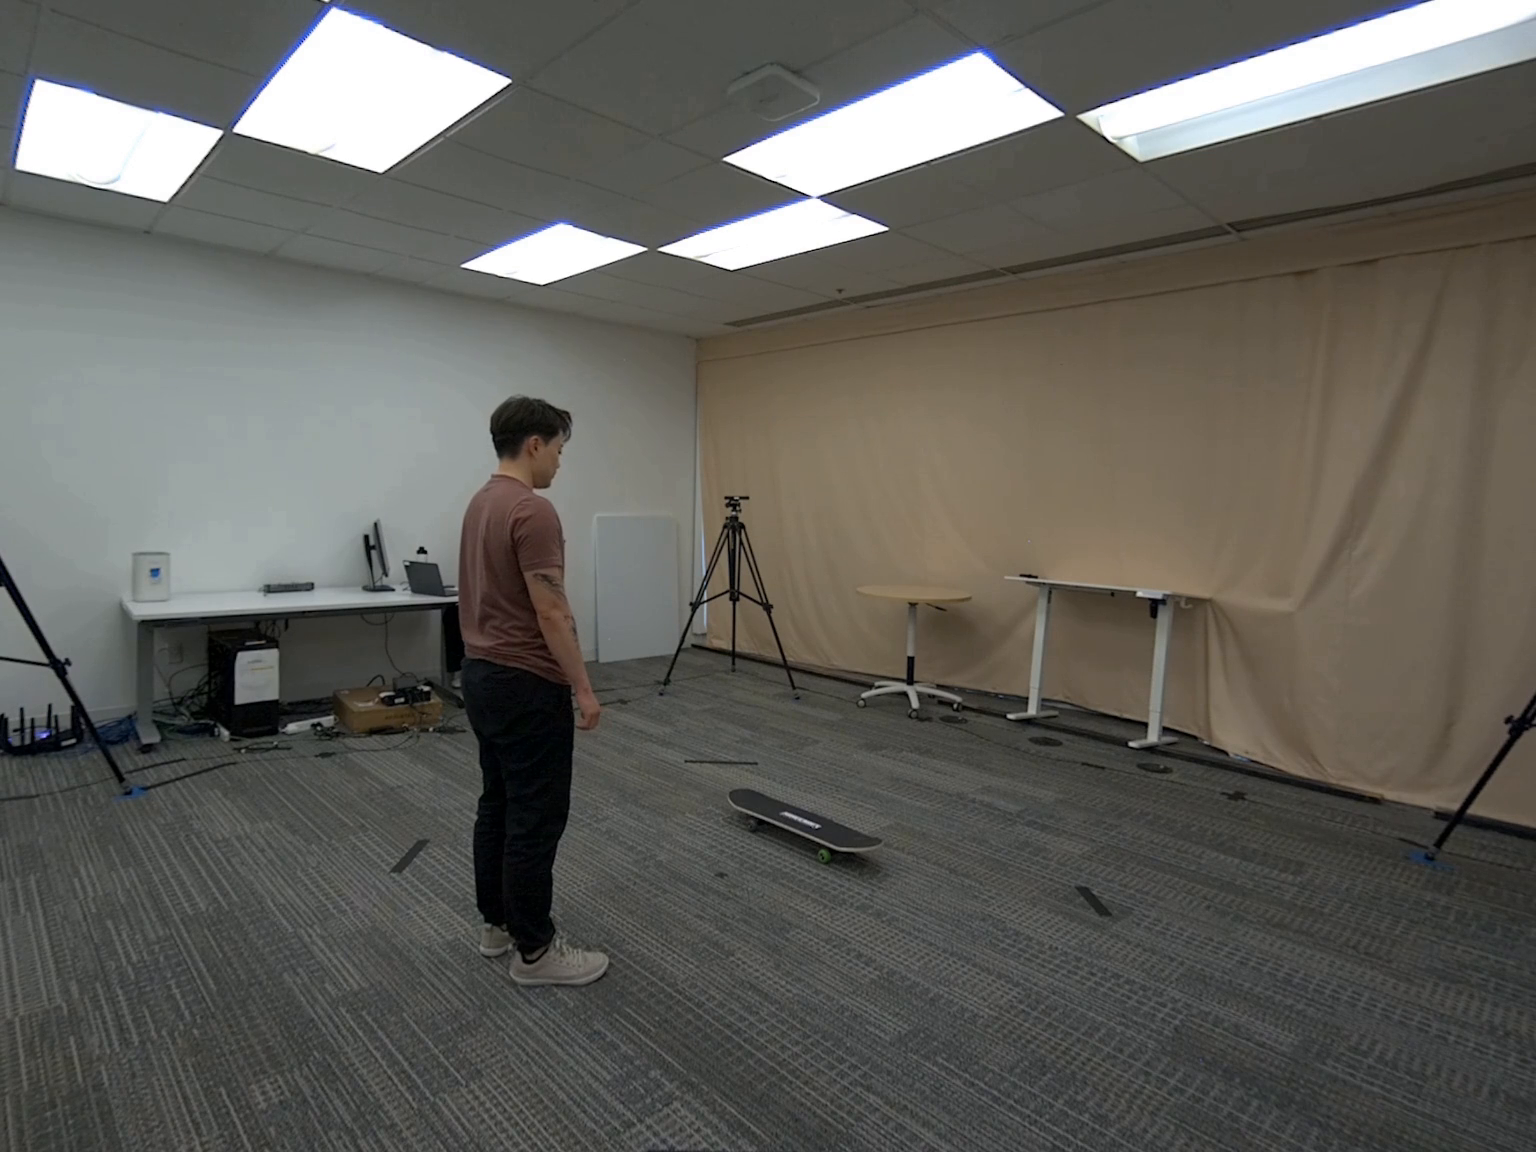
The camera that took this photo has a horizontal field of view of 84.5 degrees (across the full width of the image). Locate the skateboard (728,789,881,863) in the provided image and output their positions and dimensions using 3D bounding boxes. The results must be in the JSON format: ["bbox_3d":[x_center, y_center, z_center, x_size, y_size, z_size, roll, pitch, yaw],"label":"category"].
[{"bbox_3d":[0.124,1.027,3.434,0.189,0.110,0.806,-1,5,-43],"label":"skateboard"}]
